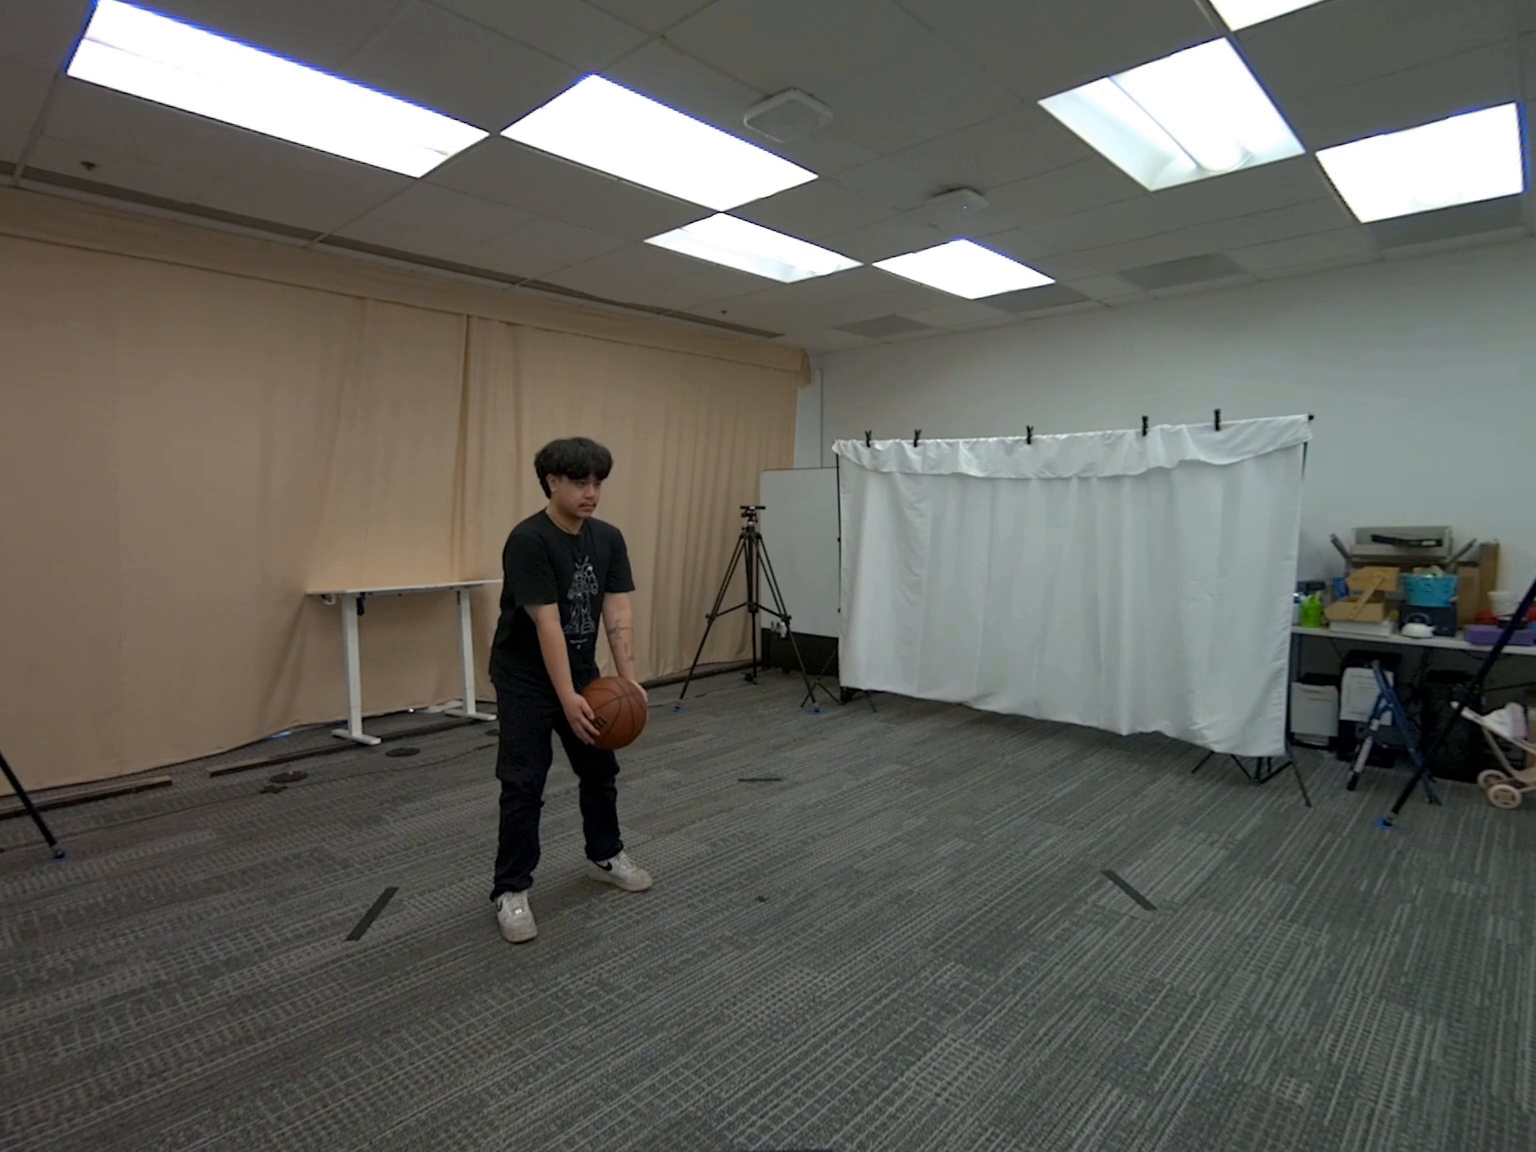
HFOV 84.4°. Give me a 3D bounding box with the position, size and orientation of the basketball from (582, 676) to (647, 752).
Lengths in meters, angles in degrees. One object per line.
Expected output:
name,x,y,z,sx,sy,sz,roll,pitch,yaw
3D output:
basketball,-0.520,0.457,2.757,0.236,0.235,0.237,0,4,-2
